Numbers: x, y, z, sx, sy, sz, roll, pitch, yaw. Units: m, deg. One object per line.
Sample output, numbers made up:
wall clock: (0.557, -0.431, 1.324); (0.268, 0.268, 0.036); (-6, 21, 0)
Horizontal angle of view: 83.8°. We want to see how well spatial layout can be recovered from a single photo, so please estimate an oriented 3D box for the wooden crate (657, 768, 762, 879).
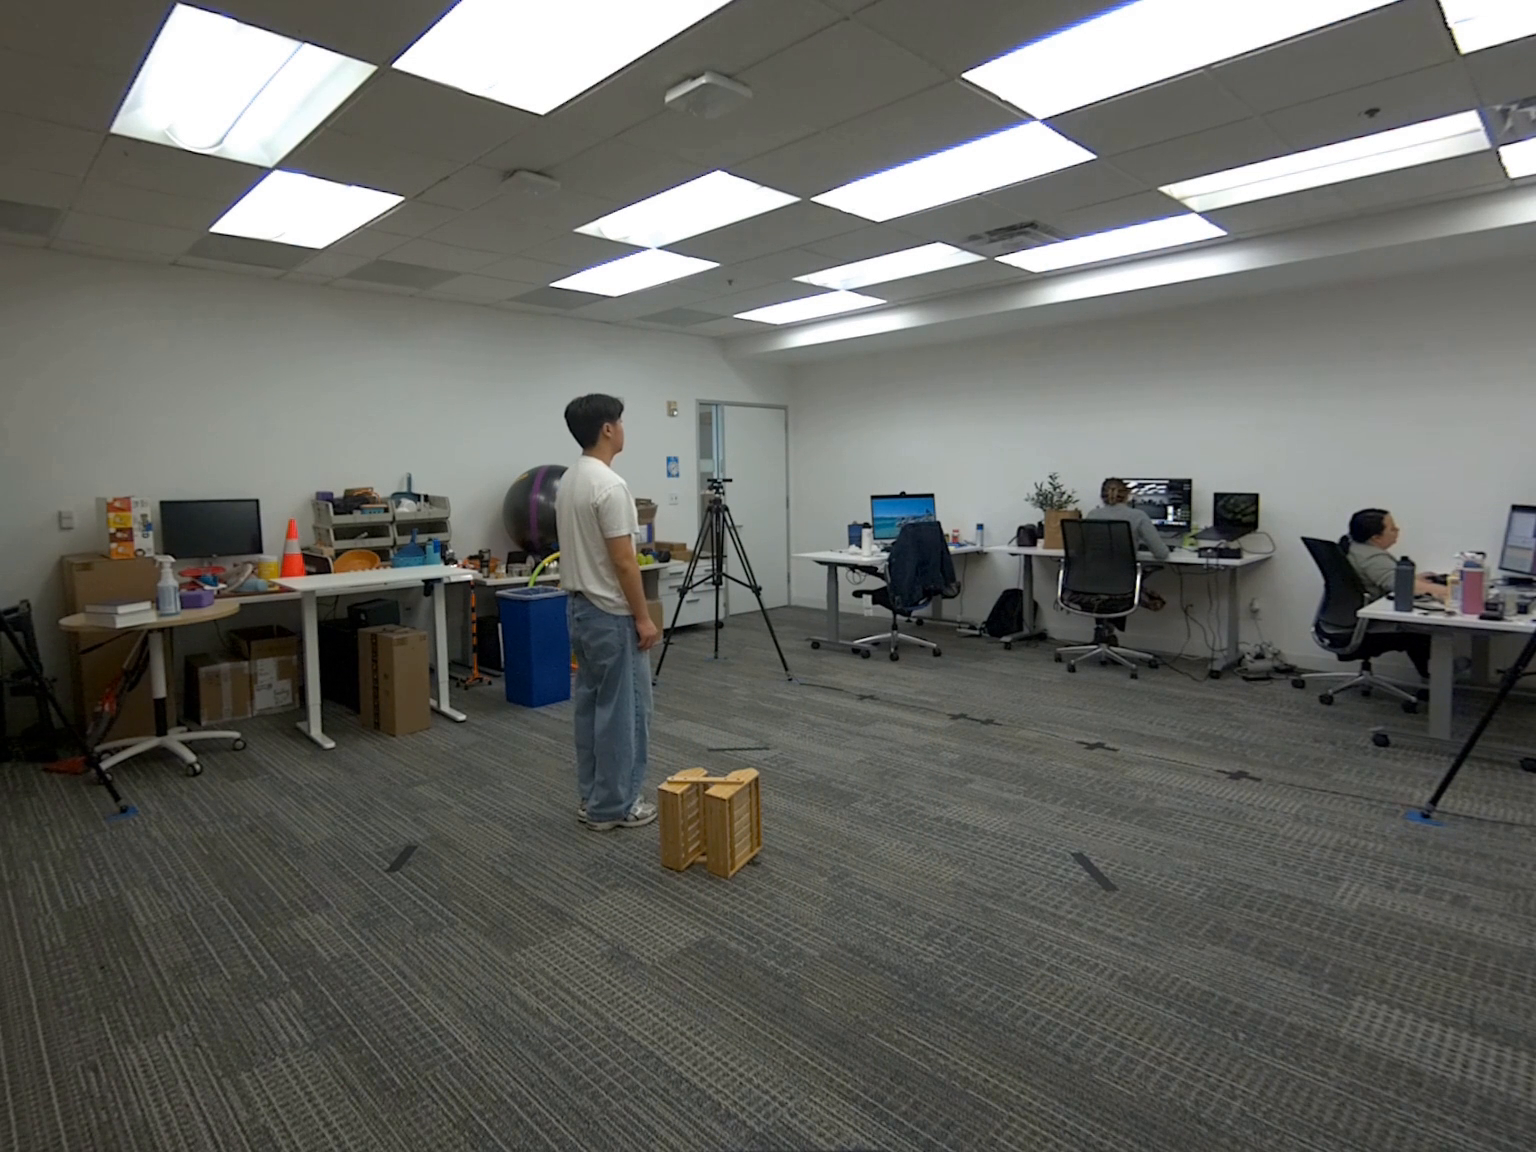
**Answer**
wooden crate: (-0.204, 0.879, 3.117); (0.281, 0.321, 0.296); (6, 13, 32)
